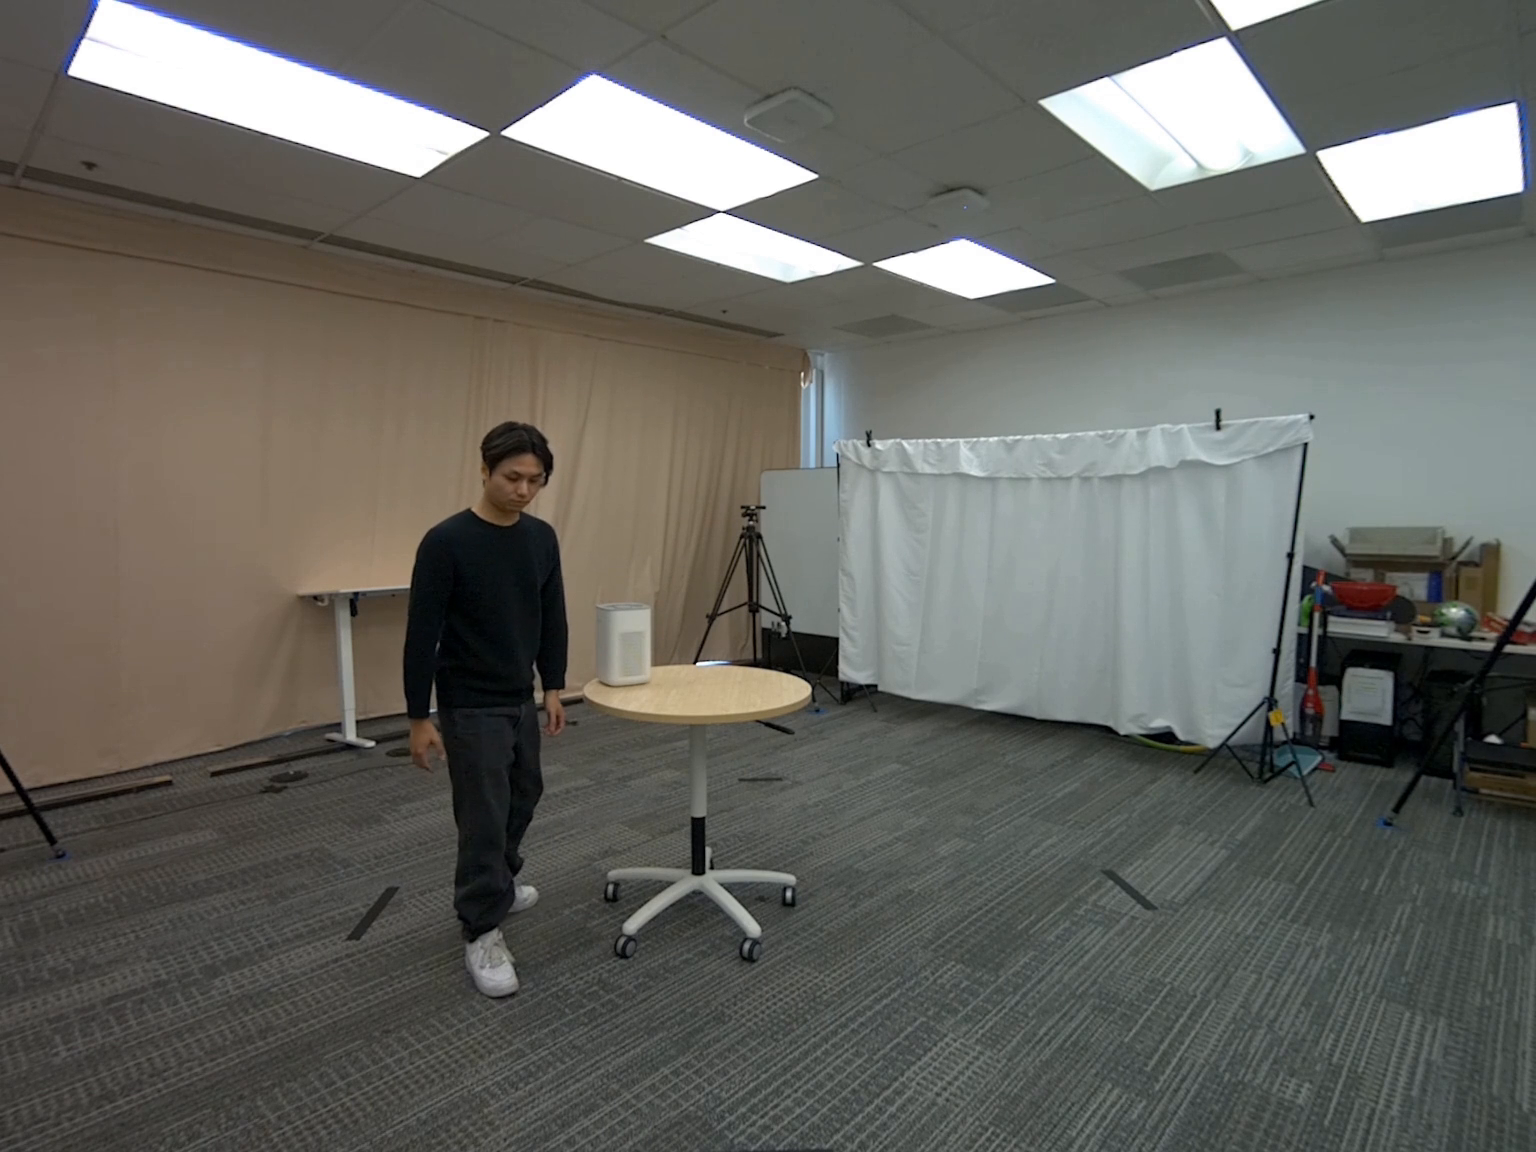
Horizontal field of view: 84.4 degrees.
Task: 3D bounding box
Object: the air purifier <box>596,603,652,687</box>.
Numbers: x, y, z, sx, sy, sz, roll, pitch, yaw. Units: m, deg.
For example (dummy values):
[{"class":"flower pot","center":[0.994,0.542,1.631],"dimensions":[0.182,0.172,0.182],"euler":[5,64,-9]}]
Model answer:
[{"class":"air purifier","center":[-0.502,0.234,2.905],"dimensions":[0.167,0.265,0.176],"euler":[-2,4,-31]}]
